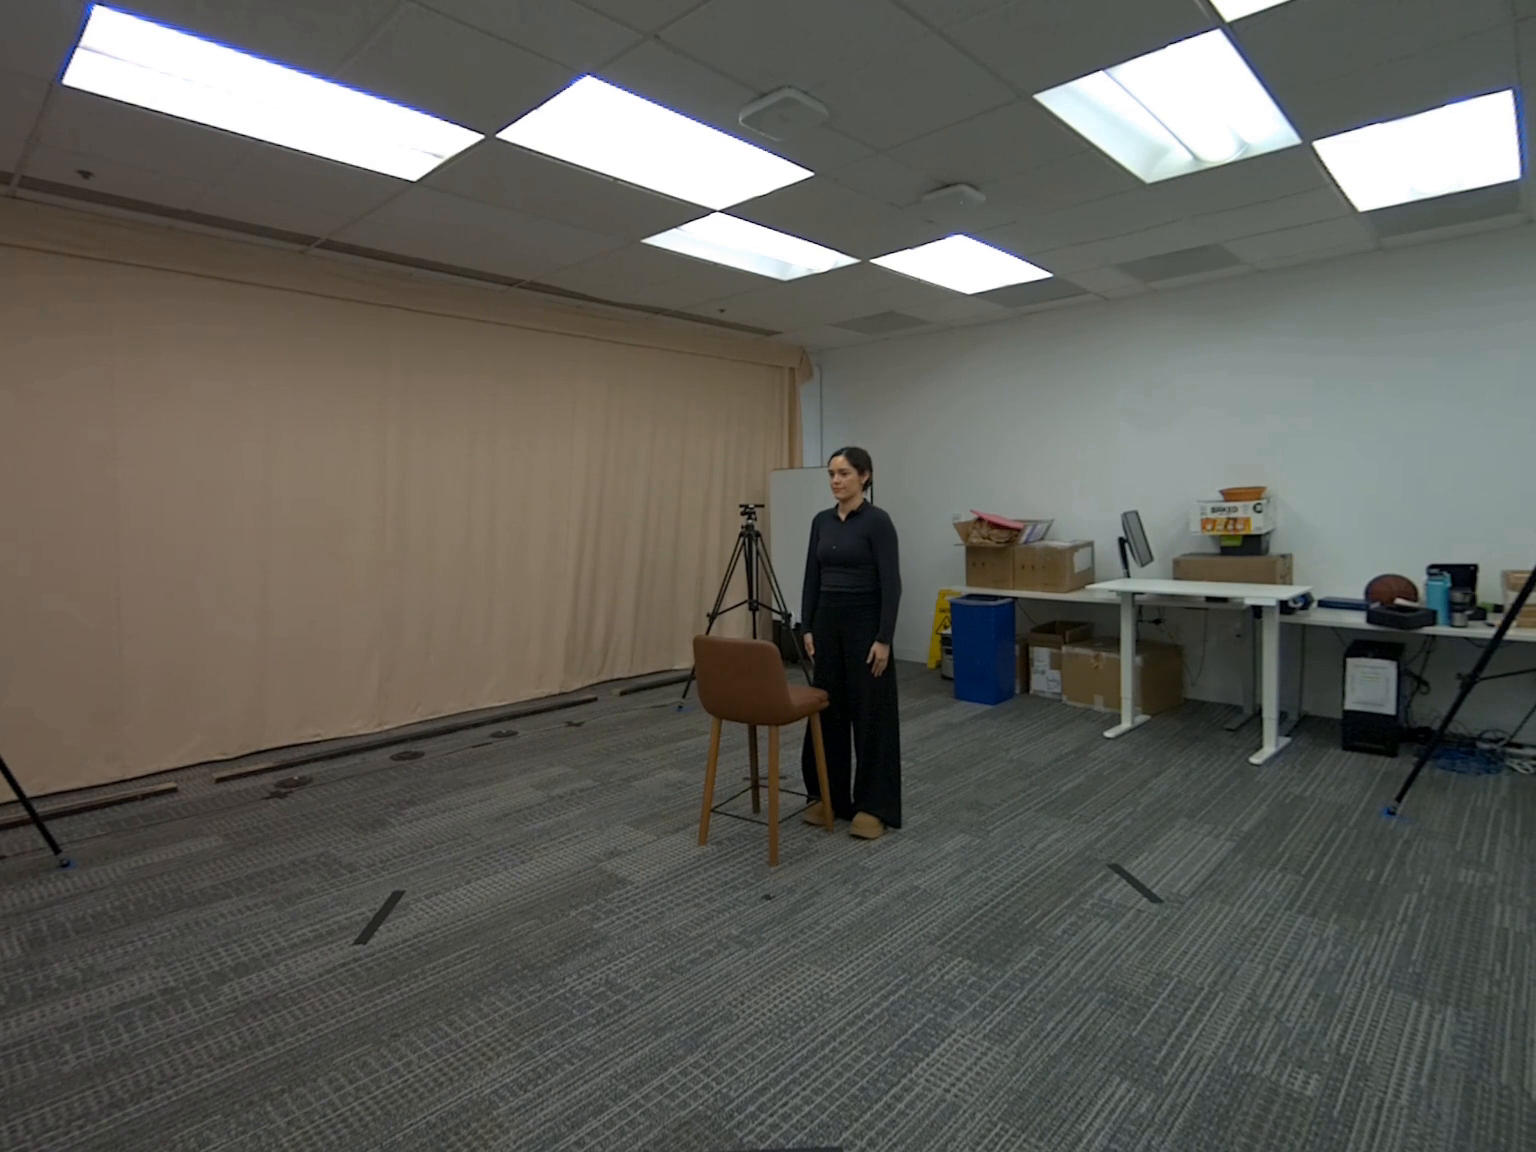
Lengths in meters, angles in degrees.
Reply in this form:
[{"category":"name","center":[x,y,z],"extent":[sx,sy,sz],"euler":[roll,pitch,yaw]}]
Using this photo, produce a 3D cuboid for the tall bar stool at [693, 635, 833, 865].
[{"category":"tall bar stool","center":[-0.022,0.661,3.504],"extent":[0.471,0.887,0.454],"euler":[1,5,35]}]
